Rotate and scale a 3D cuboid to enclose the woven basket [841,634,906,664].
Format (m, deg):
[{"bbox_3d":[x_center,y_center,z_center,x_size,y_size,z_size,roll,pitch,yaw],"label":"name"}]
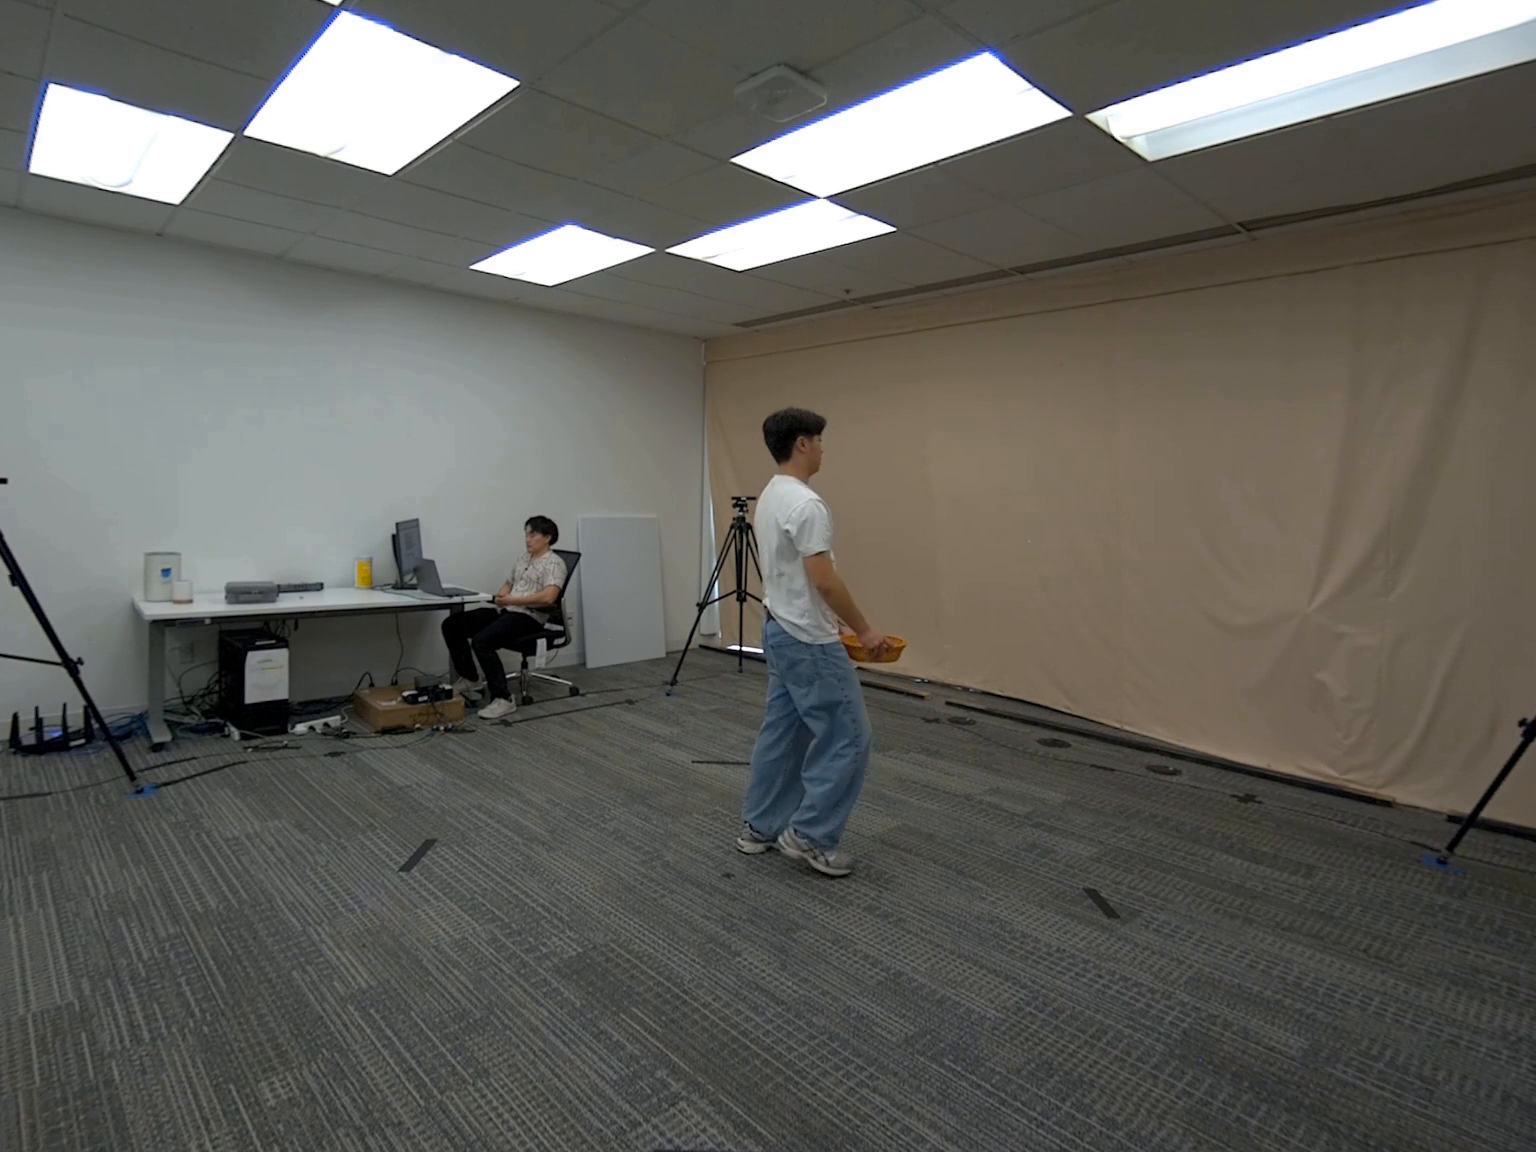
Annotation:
[{"bbox_3d":[0.400,0.284,3.300,0.251,0.073,0.353,-2,6,-7],"label":"woven basket"}]
